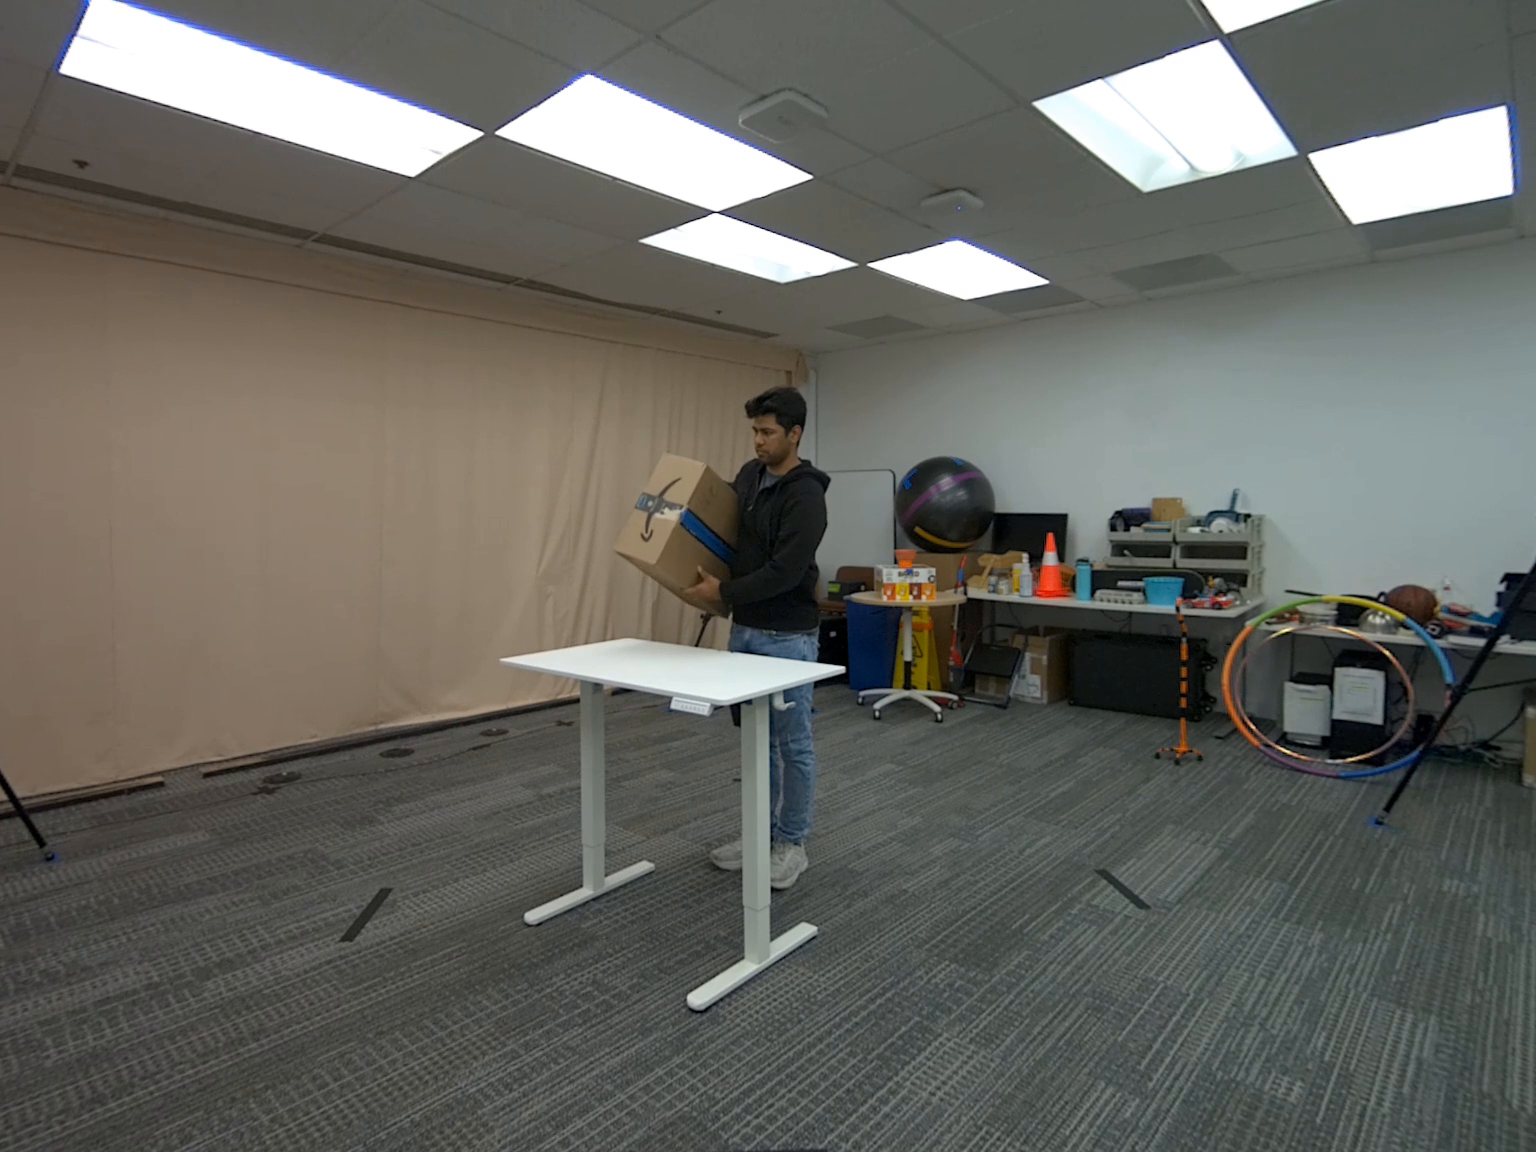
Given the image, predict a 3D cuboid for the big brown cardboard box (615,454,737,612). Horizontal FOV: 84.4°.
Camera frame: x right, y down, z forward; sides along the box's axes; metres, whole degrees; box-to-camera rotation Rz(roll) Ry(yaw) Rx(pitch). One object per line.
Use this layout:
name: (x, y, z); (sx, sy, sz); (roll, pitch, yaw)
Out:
big brown cardboard box: (-0.278, -0.143, 3.242); (0.241, 0.418, 0.568); (18, -14, 34)
